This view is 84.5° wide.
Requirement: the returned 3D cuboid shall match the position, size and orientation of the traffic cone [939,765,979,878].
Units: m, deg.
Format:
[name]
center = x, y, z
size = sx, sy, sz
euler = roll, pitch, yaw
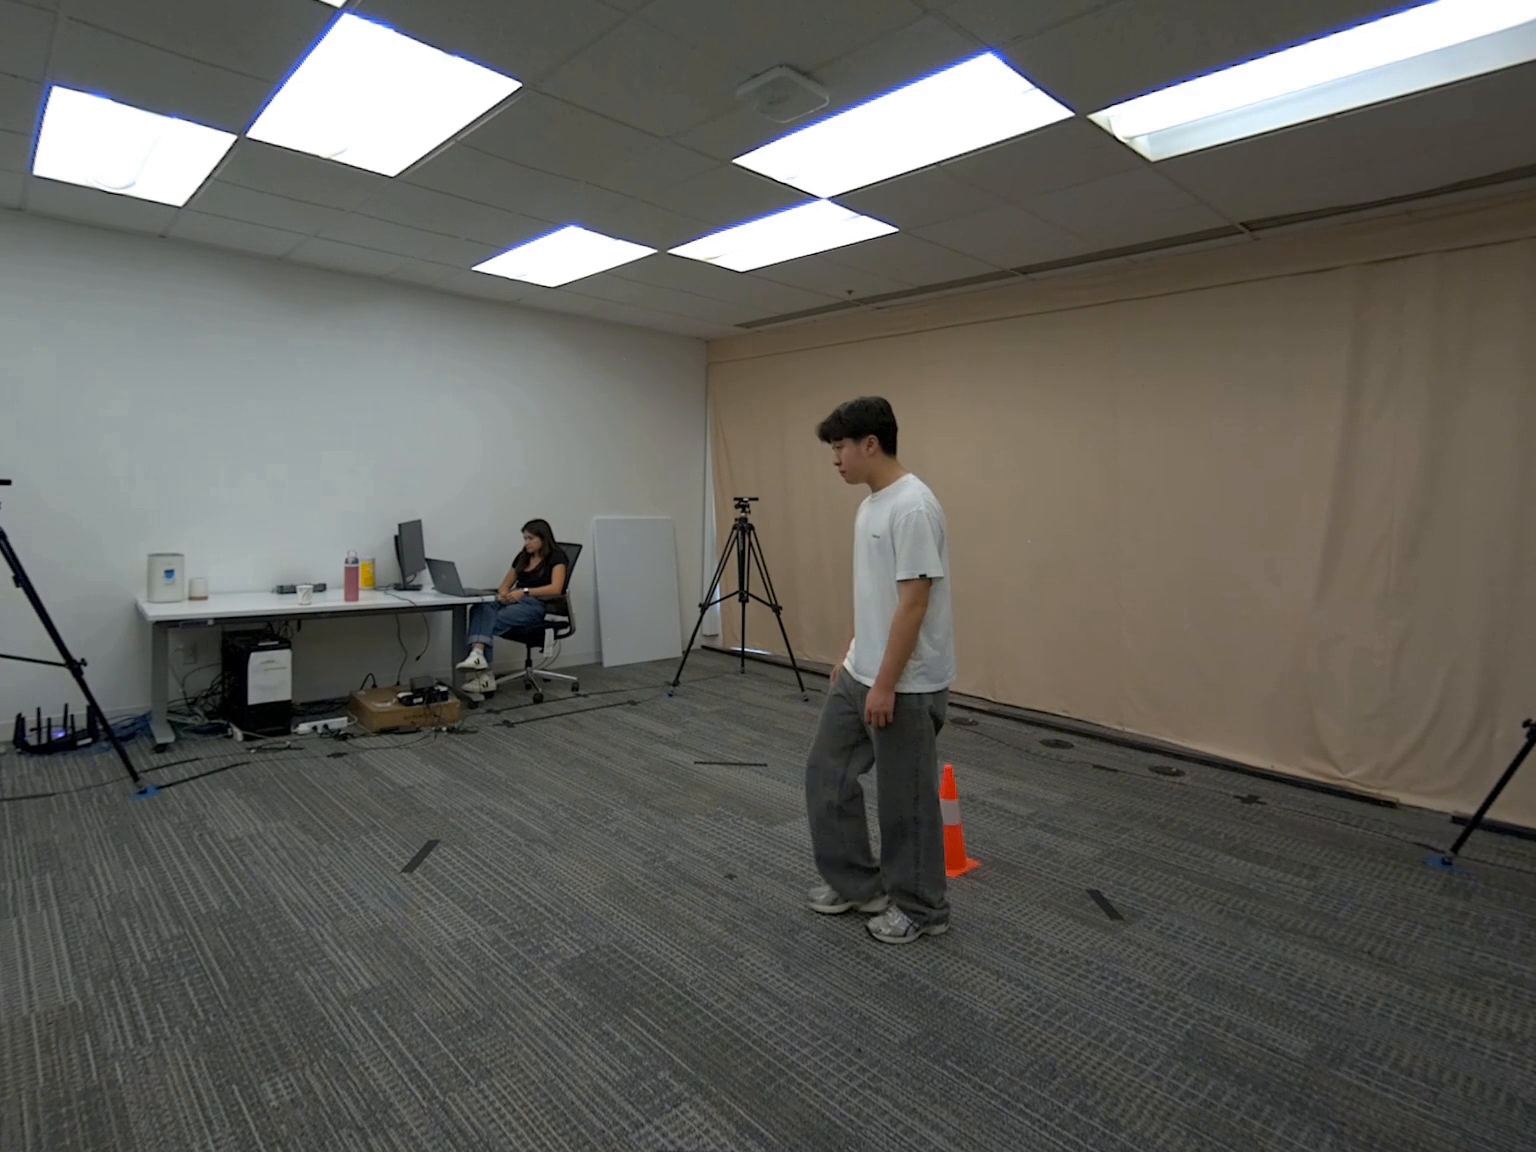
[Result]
[traffic cone]
center = 0.695, 0.931, 3.261
size = 0.200, 0.382, 0.208
euler = 0, 5, -35
